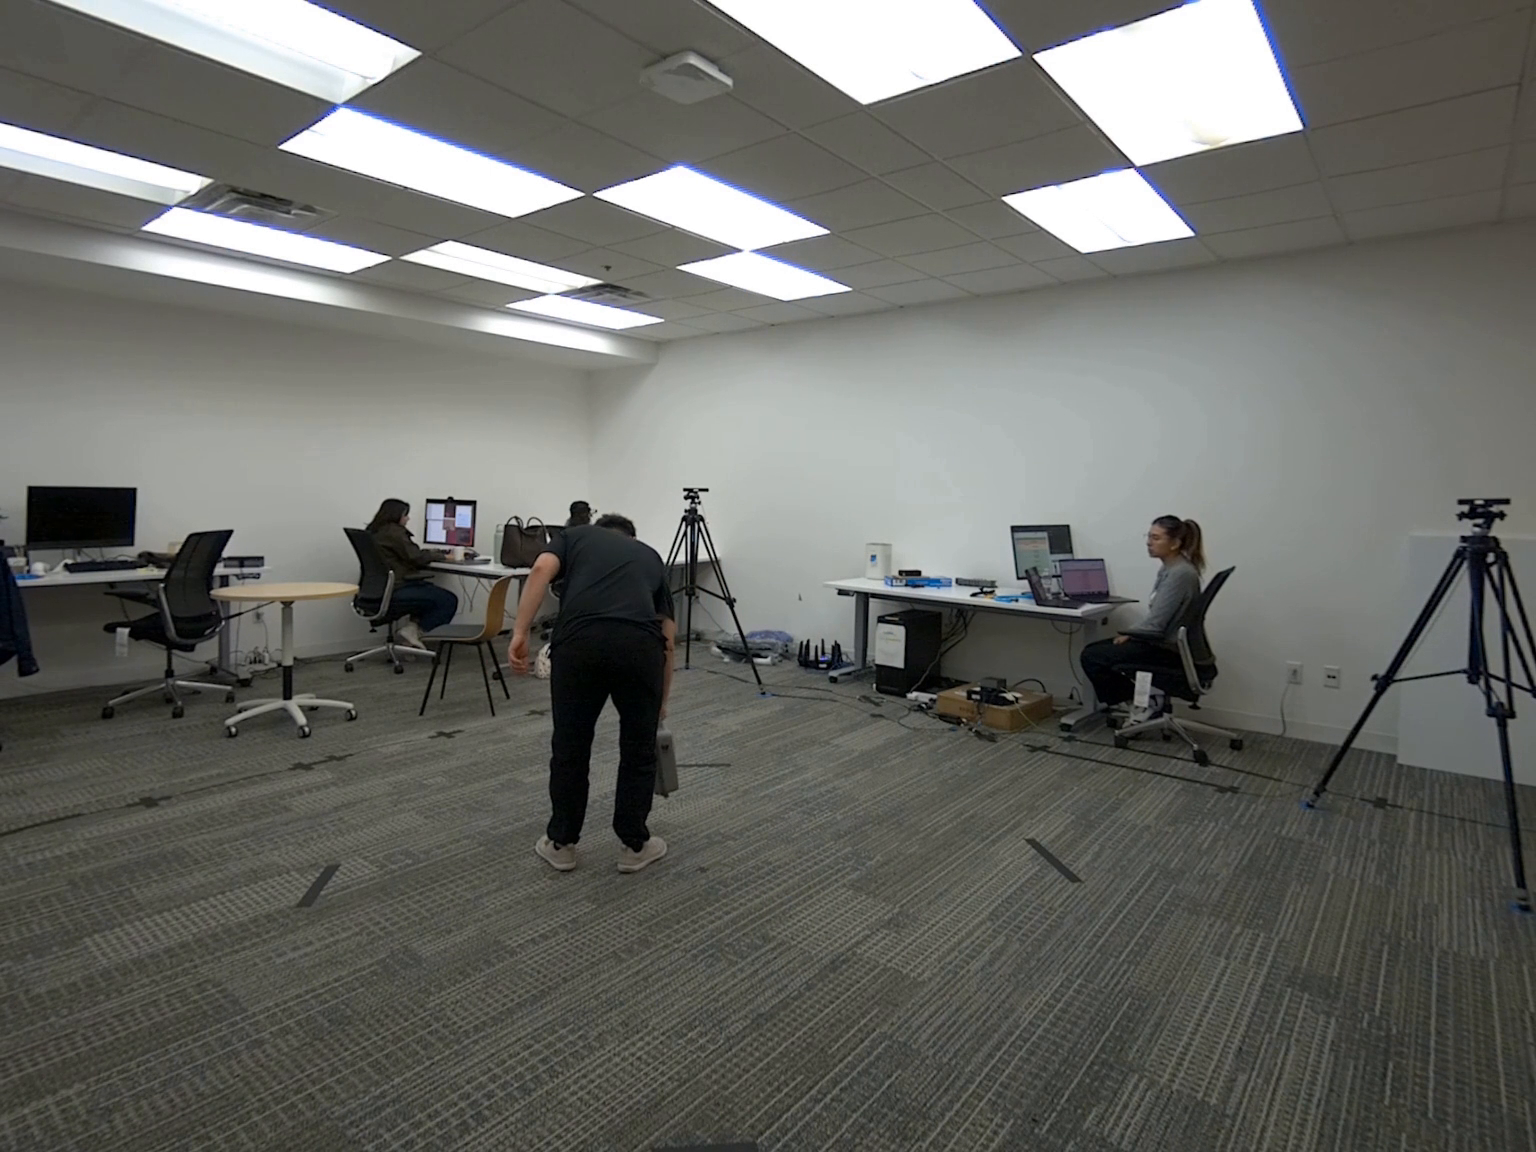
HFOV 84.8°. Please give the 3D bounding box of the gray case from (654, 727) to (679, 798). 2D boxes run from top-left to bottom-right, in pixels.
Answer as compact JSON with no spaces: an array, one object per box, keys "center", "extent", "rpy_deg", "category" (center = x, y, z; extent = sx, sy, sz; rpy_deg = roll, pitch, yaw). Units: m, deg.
[{"center":[-0.457,0.721,3.460],"extent":[0.102,0.259,0.263],"rpy_deg":[-6,7,-21],"category":"gray case"}]
